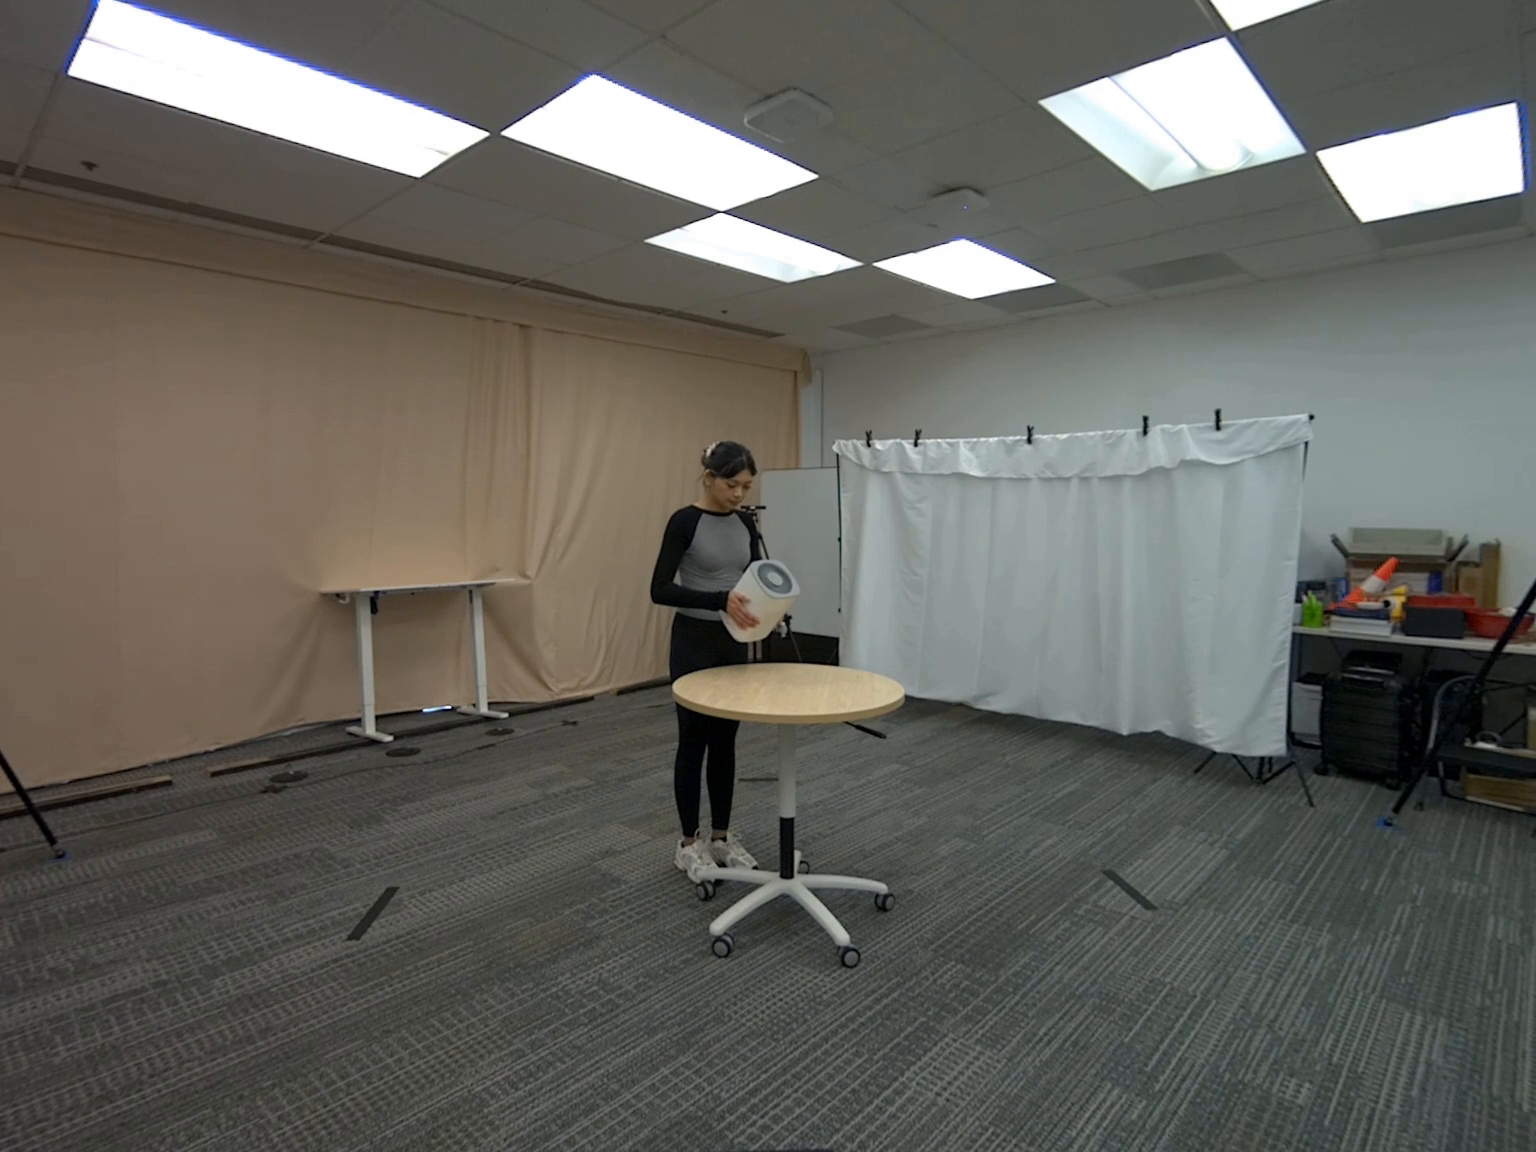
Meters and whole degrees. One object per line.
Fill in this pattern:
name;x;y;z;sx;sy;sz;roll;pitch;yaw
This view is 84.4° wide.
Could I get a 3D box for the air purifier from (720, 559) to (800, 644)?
air purifier;-0.032;0.095;2.991;0.166;0.176;0.266;-8;-36;-41
